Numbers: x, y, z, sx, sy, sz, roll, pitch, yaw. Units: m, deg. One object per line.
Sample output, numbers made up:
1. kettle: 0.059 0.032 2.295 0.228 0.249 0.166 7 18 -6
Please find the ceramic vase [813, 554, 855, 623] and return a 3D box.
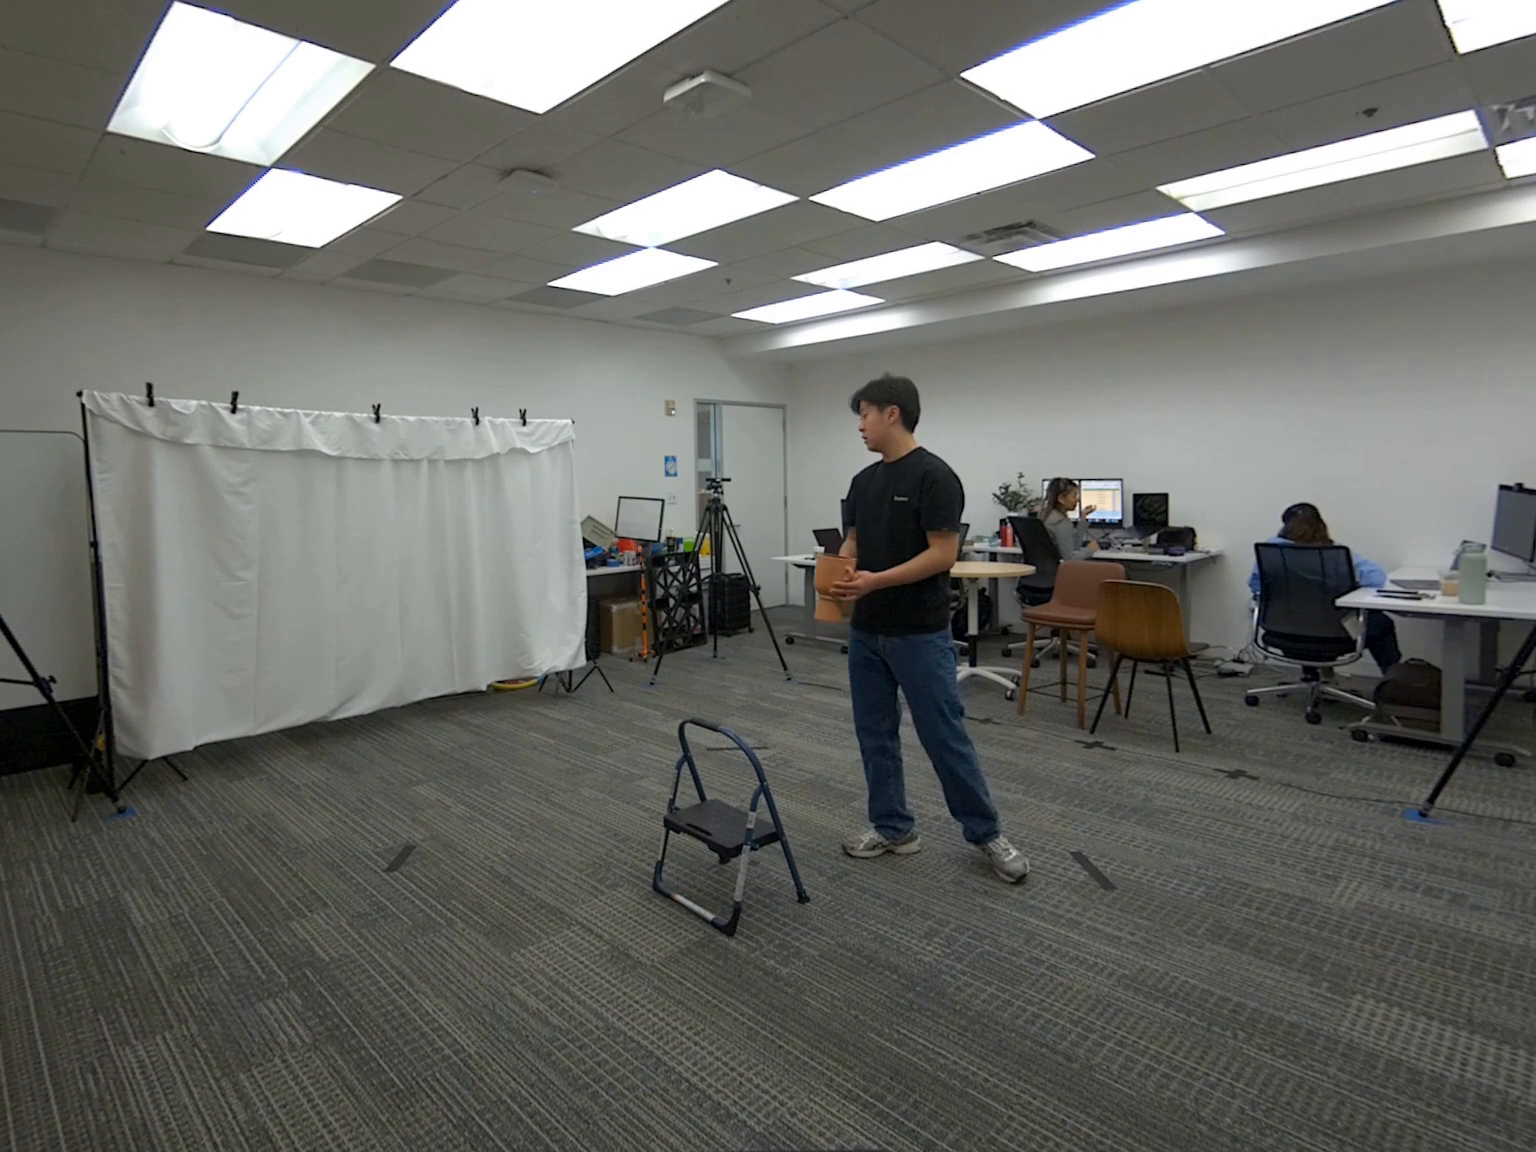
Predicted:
1. ceramic vase: 0.239 0.041 2.919 0.136 0.219 0.158 9 6 8
